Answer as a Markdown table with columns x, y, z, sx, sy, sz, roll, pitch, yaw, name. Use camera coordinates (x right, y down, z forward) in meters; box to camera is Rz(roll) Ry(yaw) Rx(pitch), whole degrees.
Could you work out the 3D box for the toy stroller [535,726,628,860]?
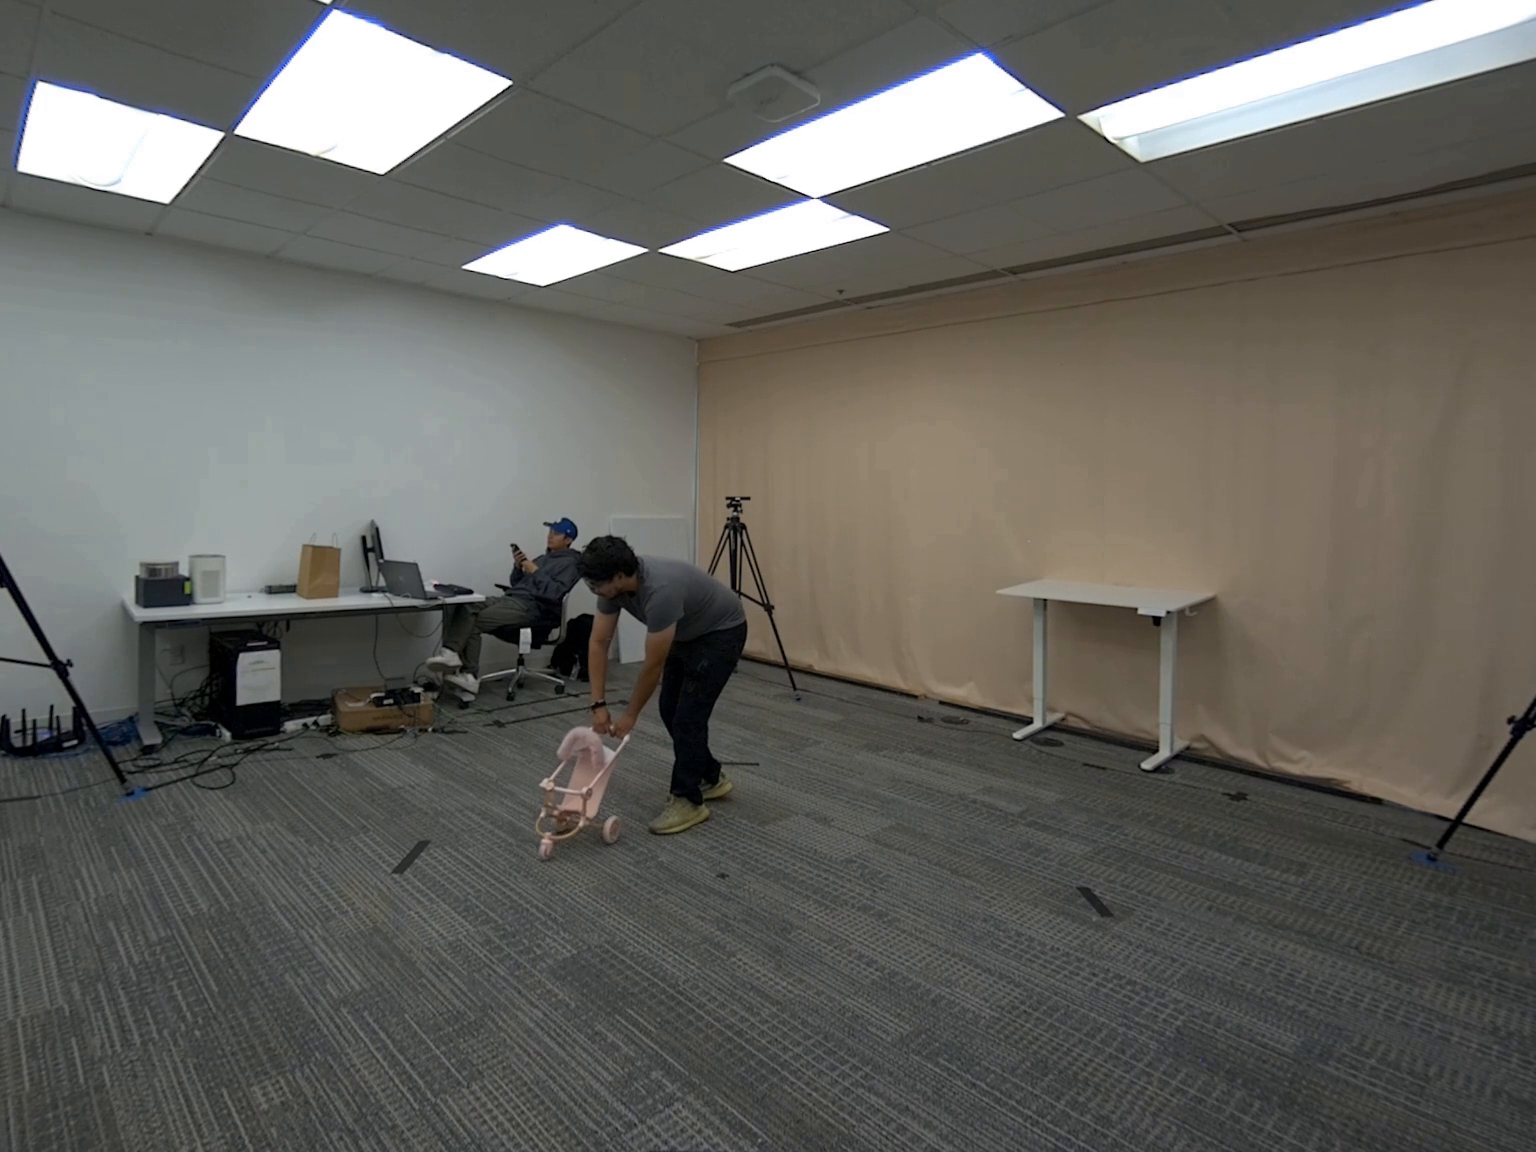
| x | y | z | sx | sy | sz | roll | pitch | yaw | name |
| --- | --- | --- | --- | --- | --- | --- | --- | --- | --- |
| -0.764 | 0.847 | 3.368 | 0.287 | 0.539 | 0.331 | 3 | -14 | 29 | toy stroller |
